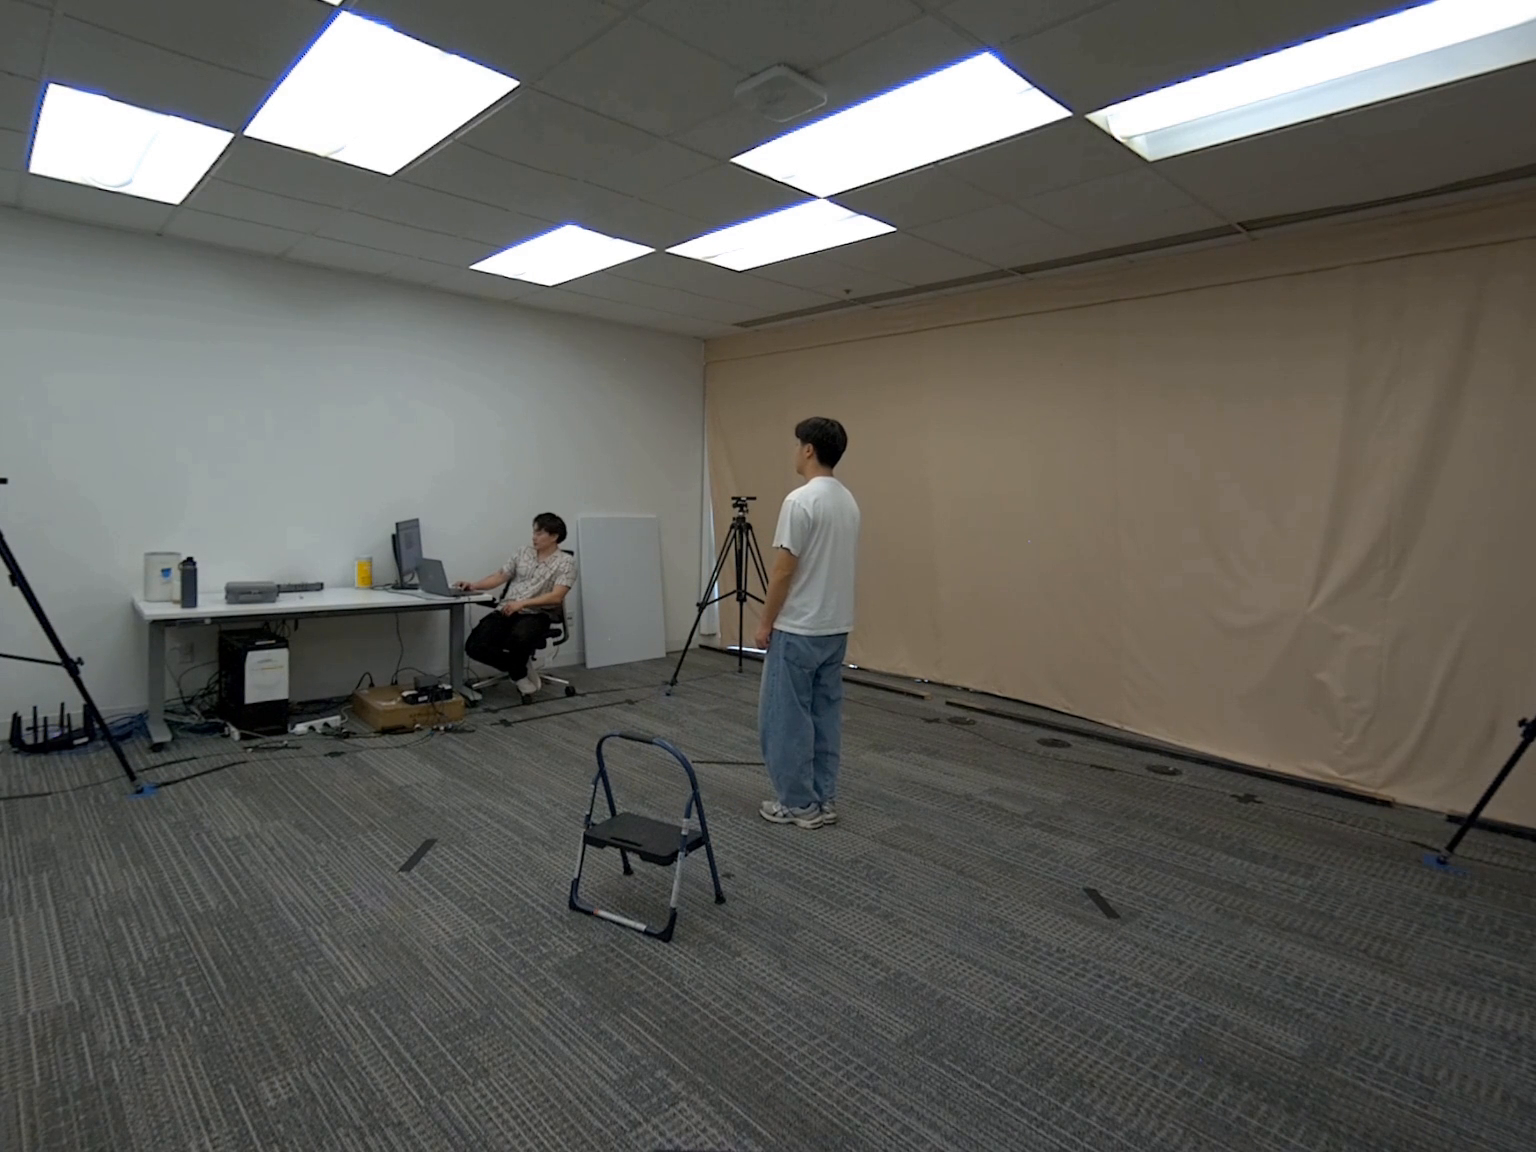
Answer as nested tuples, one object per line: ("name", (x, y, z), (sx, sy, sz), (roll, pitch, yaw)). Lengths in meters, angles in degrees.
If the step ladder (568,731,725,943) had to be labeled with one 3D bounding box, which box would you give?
("step ladder", (-0.412, 0.820, 2.856), (0.440, 0.605, 0.342), (3, 3, 29))
